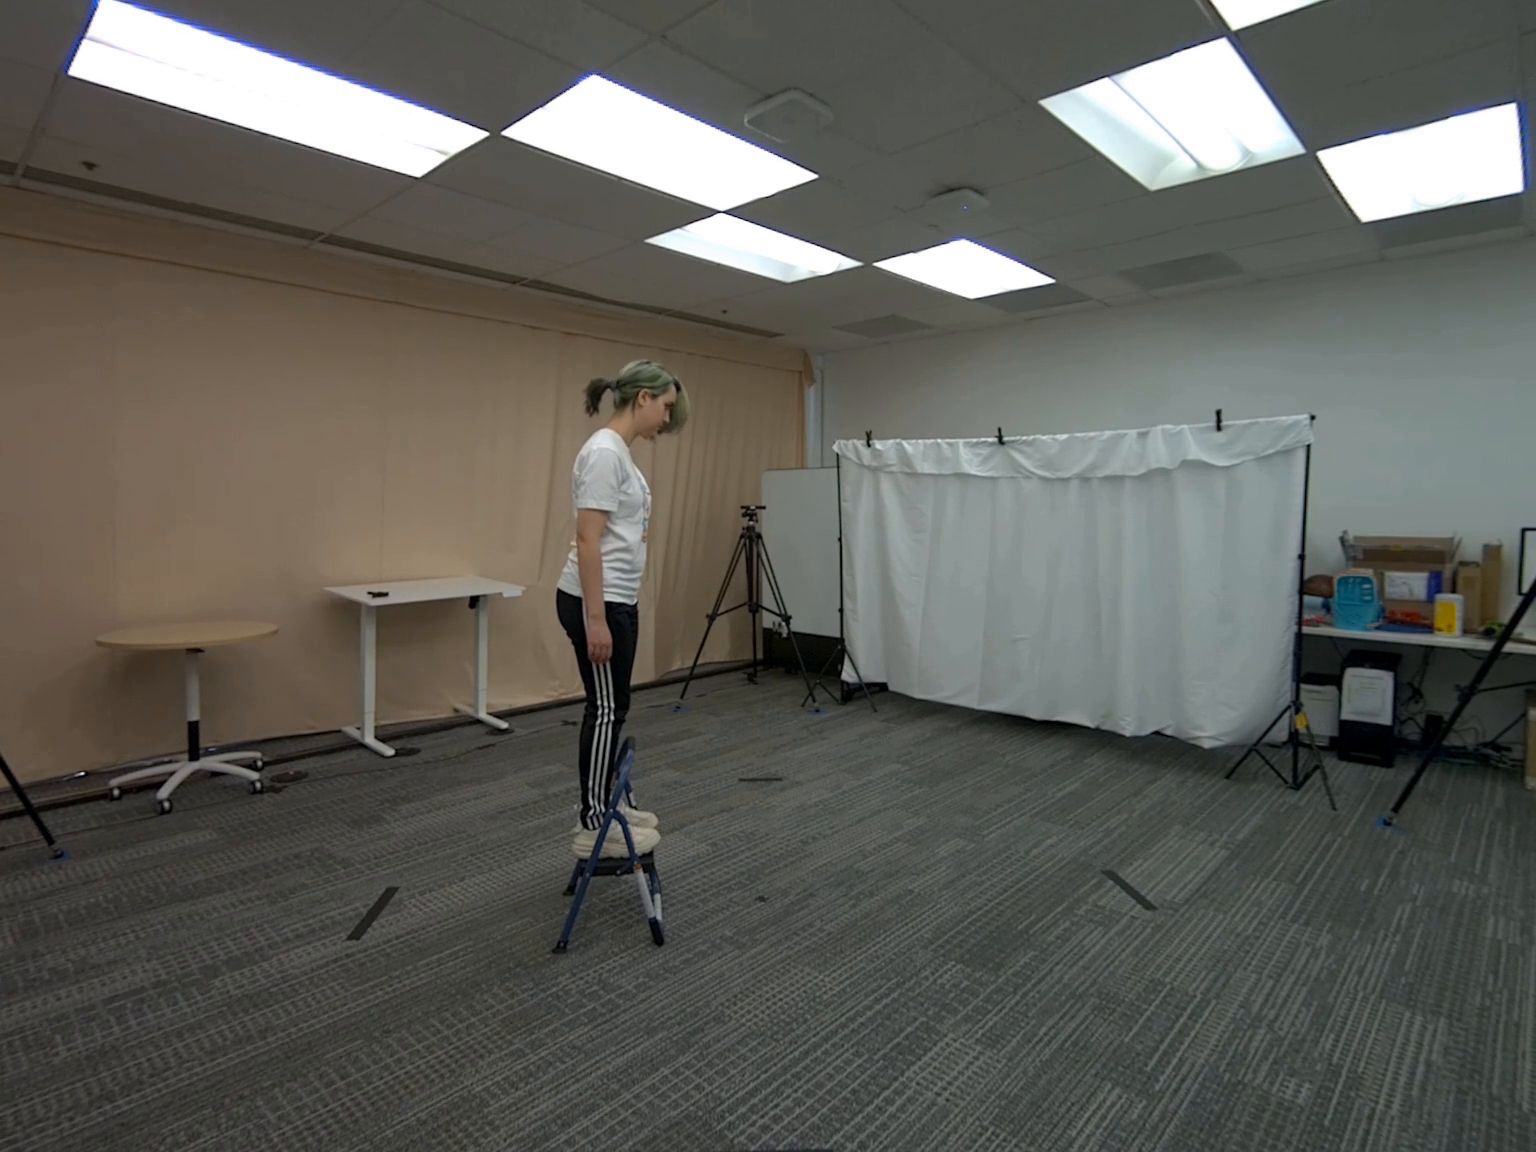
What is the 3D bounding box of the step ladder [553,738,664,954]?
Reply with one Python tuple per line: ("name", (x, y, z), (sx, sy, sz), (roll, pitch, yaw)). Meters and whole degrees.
("step ladder", (-0.531, 0.862, 2.837), (0.347, 0.605, 0.435), (-2, 3, -8))
